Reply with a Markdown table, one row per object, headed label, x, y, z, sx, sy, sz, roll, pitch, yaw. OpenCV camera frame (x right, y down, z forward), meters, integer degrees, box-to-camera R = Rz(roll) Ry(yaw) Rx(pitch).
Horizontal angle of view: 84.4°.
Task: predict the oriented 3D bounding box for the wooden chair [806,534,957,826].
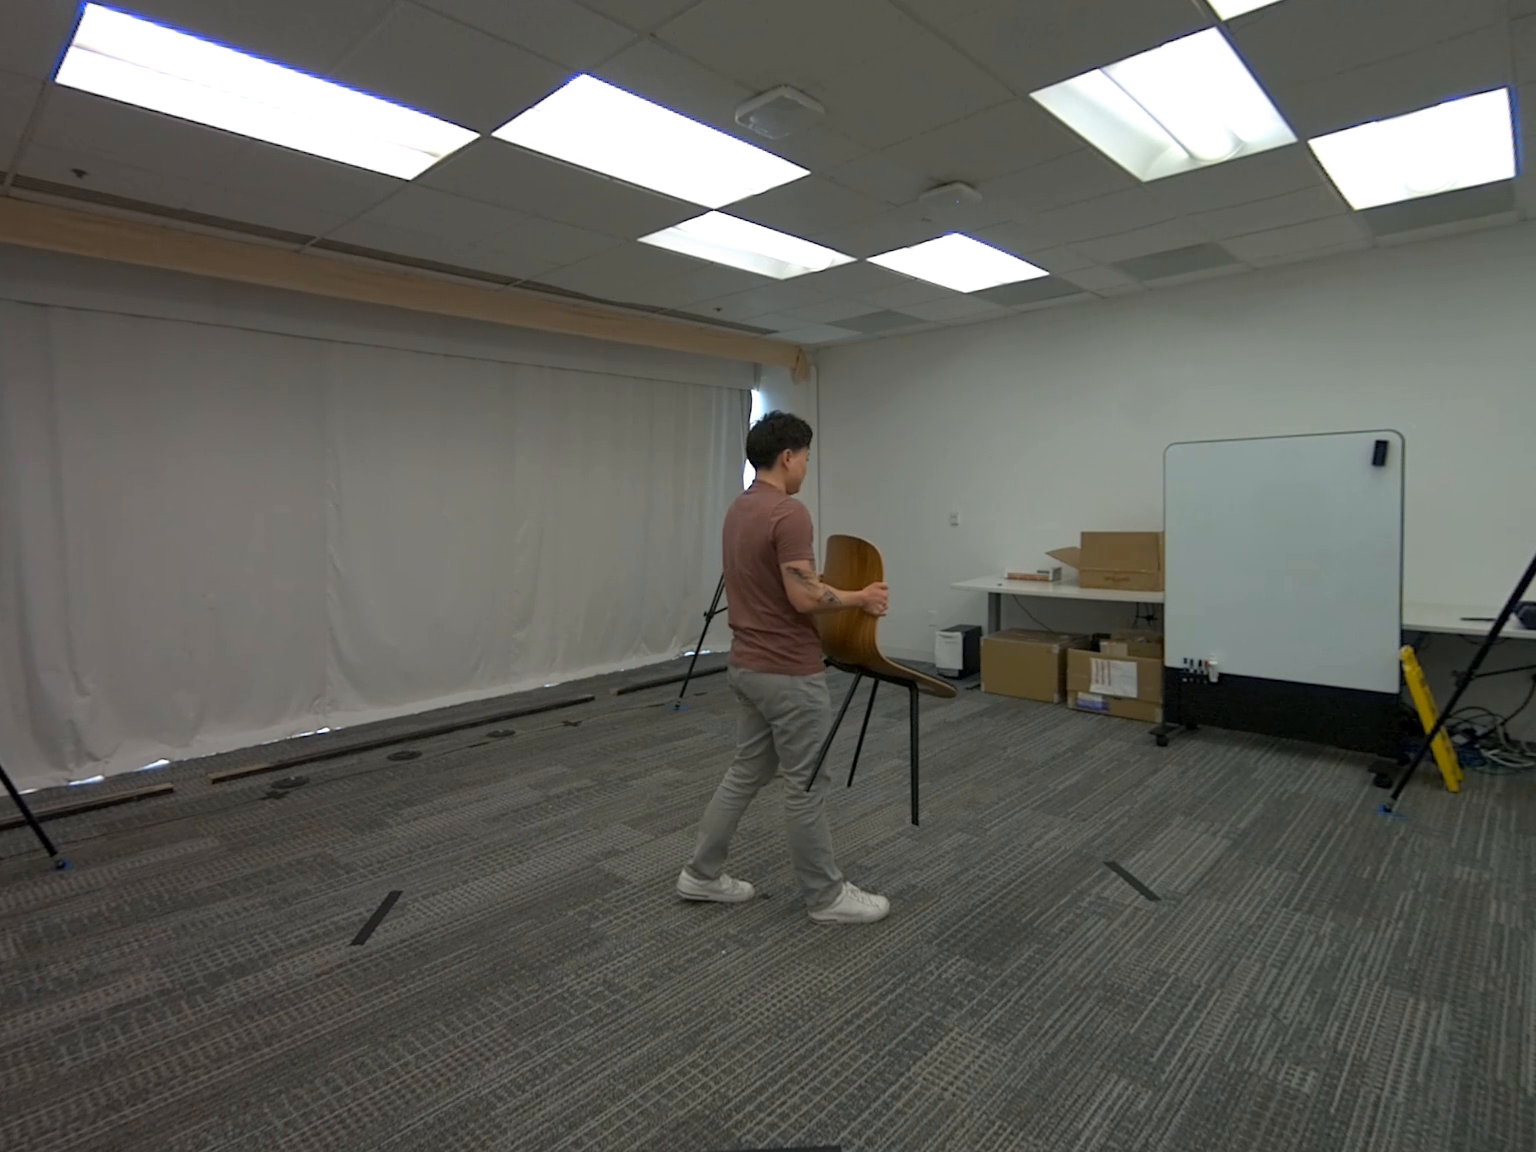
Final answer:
| label | x | y | z | sx | sy | sz | roll | pitch | yaw |
| --- | --- | --- | --- | --- | --- | --- | --- | --- | --- |
| wooden chair | 0.367 | 0.346 | 2.978 | 0.510 | 0.879 | 0.490 | 17 | -5 | -23 |
